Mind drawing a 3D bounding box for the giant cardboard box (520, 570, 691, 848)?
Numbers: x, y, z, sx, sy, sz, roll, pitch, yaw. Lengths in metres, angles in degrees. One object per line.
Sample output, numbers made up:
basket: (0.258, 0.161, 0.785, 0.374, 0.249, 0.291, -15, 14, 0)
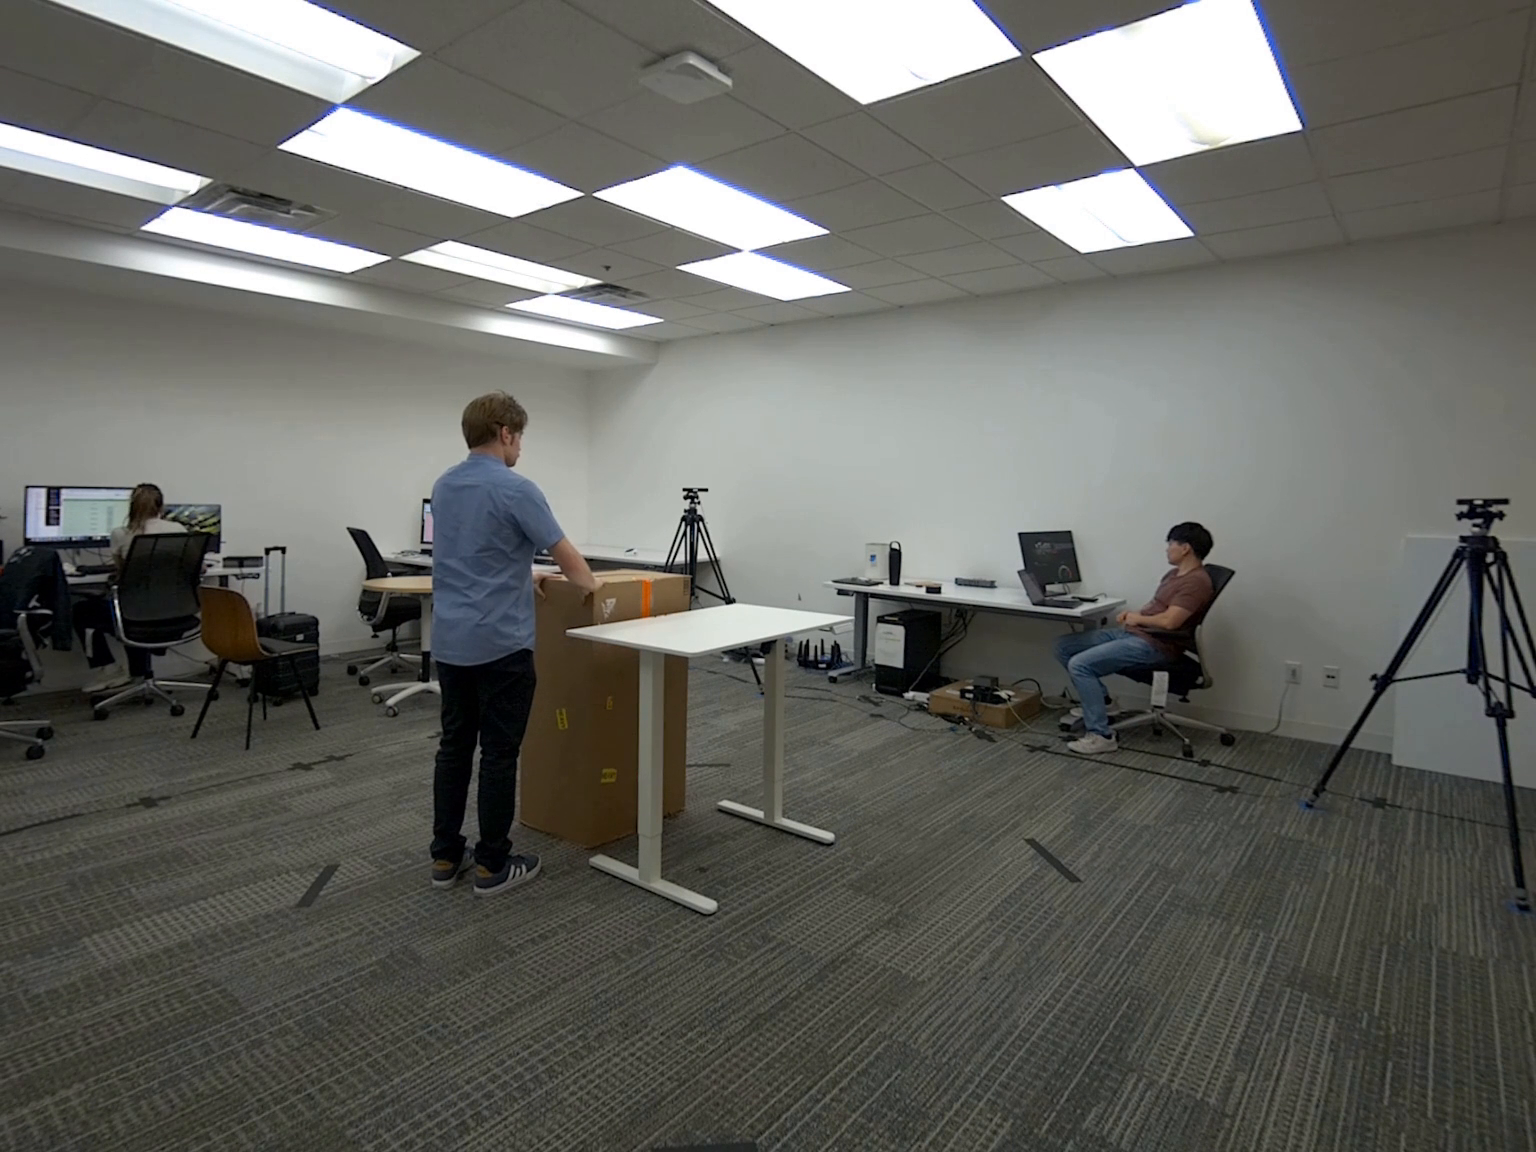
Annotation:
giant cardboard box: (-0.687, 0.506, 3.586, 0.440, 1.023, 0.560, 3, 3, 37)
